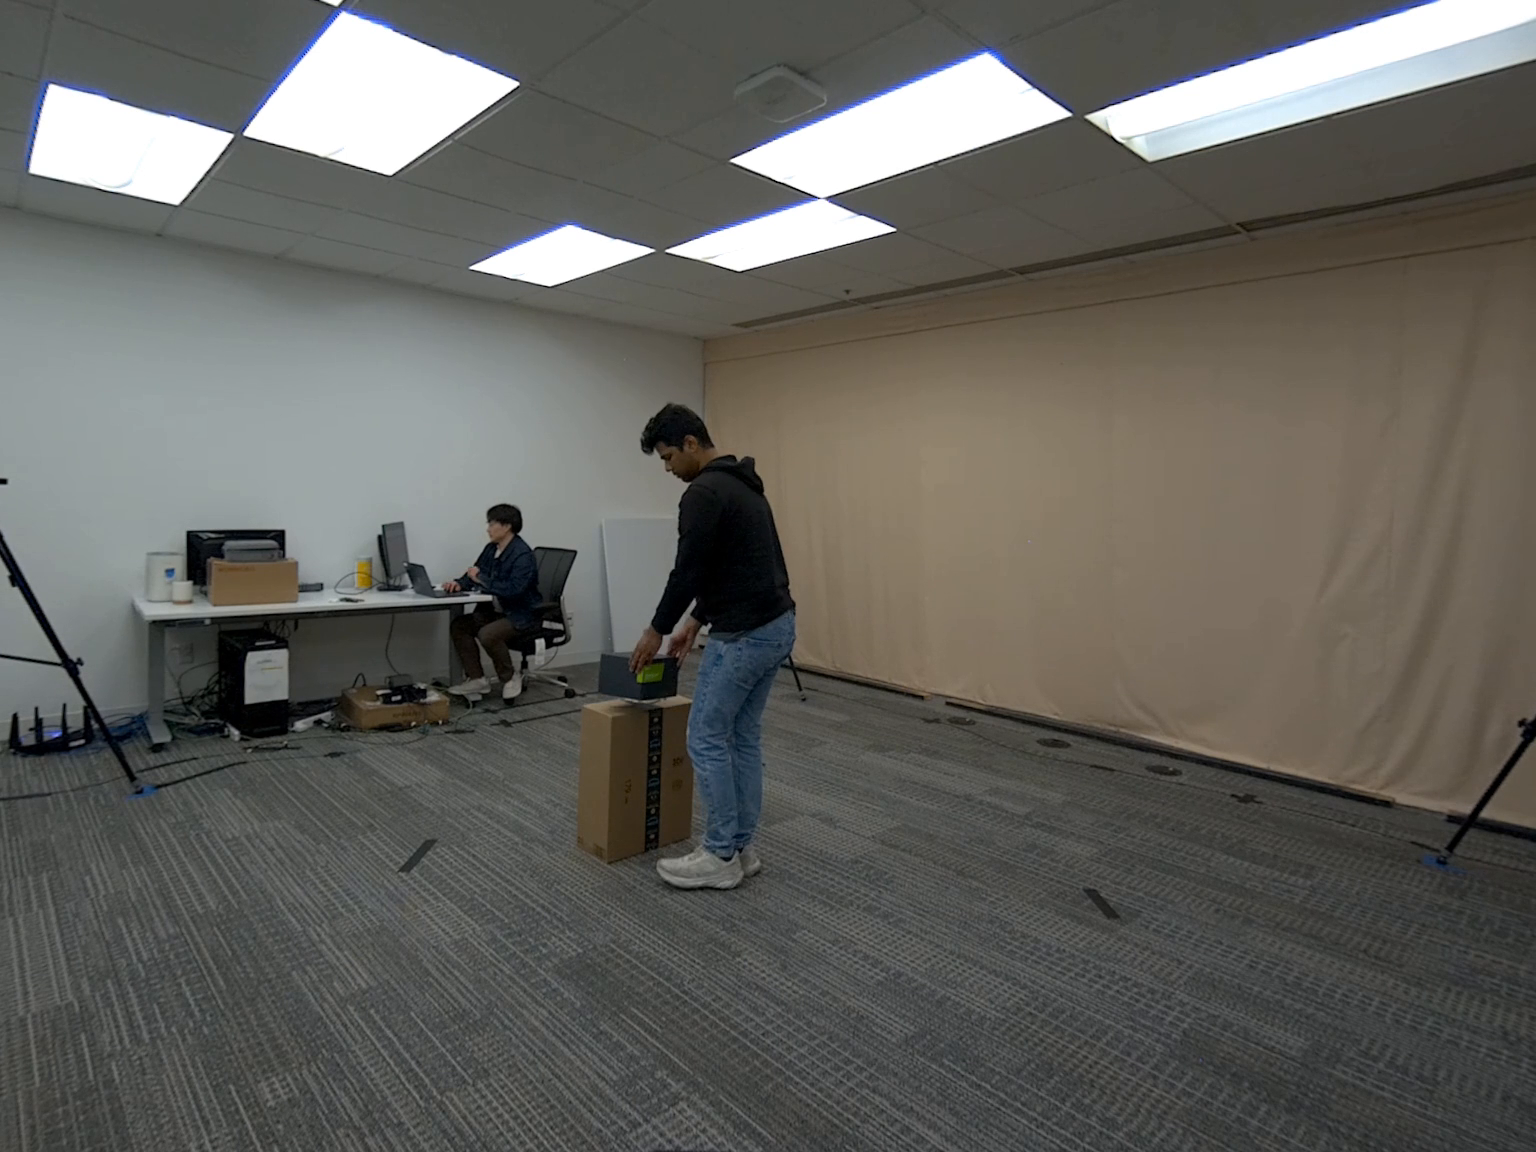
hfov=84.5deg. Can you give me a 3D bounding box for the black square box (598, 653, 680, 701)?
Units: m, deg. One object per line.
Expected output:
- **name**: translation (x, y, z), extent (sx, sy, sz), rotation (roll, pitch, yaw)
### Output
- **black square box**: translation (-0.503, 0.388, 3.268), extent (0.222, 0.156, 0.223), rotation (4, 0, 30)
